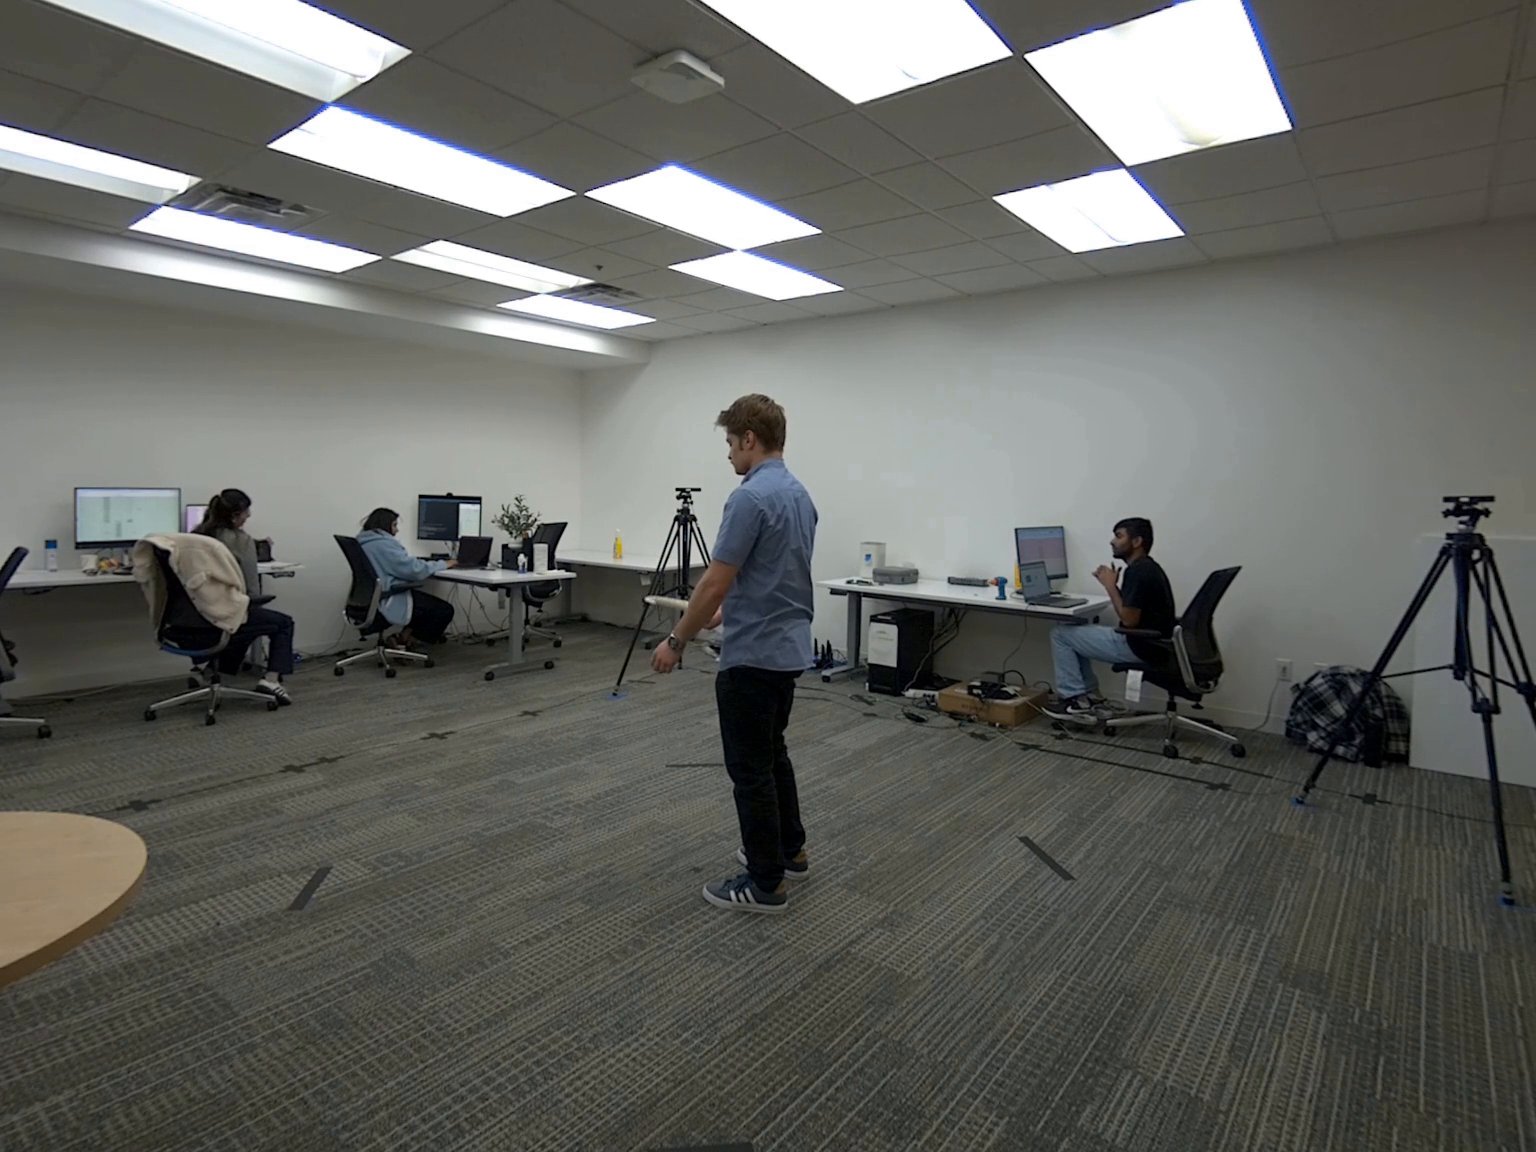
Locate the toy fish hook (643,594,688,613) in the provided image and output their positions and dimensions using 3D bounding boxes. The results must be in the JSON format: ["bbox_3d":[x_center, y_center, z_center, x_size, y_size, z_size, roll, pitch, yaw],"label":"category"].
[{"bbox_3d":[-0.356,0.130,3.264,0.220,0.048,0.516,6,2,-18],"label":"toy fish hook"}]
